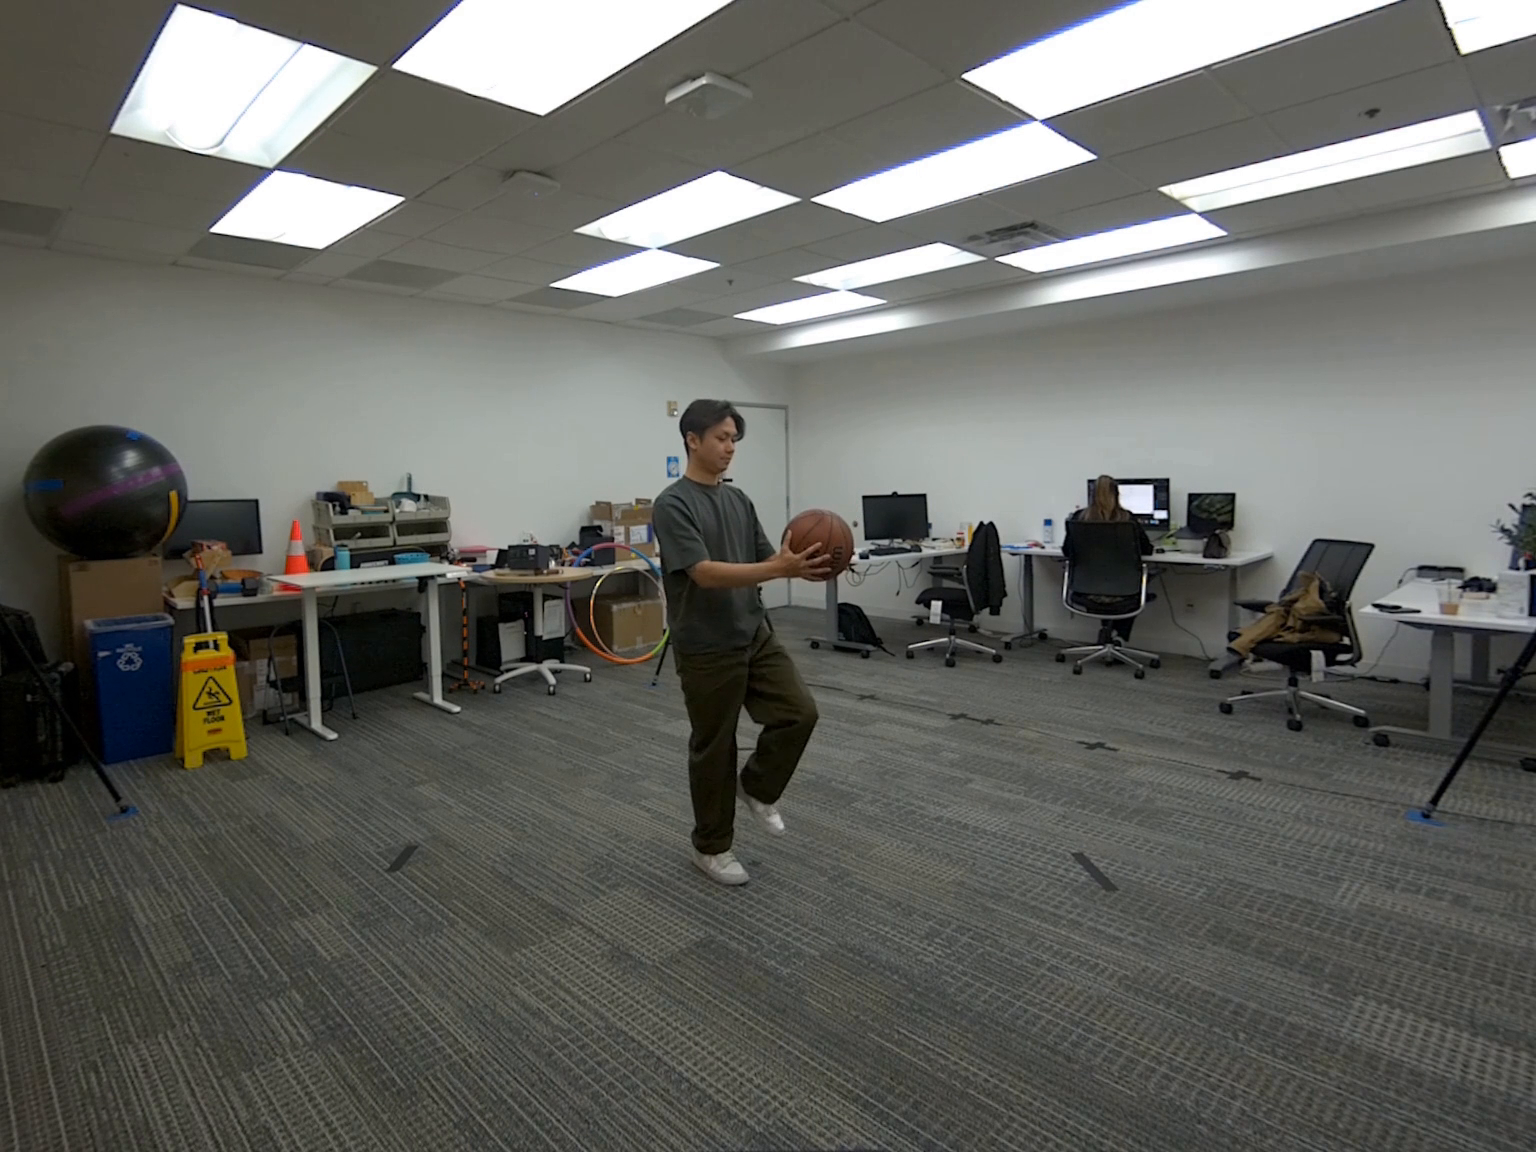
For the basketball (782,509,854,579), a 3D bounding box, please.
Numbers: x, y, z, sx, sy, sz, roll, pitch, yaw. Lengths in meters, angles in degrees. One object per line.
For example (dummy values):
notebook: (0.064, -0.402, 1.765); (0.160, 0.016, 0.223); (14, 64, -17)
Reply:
basketball: (0.165, -0.107, 2.799); (0.236, 0.235, 0.237); (-1, 5, -2)
